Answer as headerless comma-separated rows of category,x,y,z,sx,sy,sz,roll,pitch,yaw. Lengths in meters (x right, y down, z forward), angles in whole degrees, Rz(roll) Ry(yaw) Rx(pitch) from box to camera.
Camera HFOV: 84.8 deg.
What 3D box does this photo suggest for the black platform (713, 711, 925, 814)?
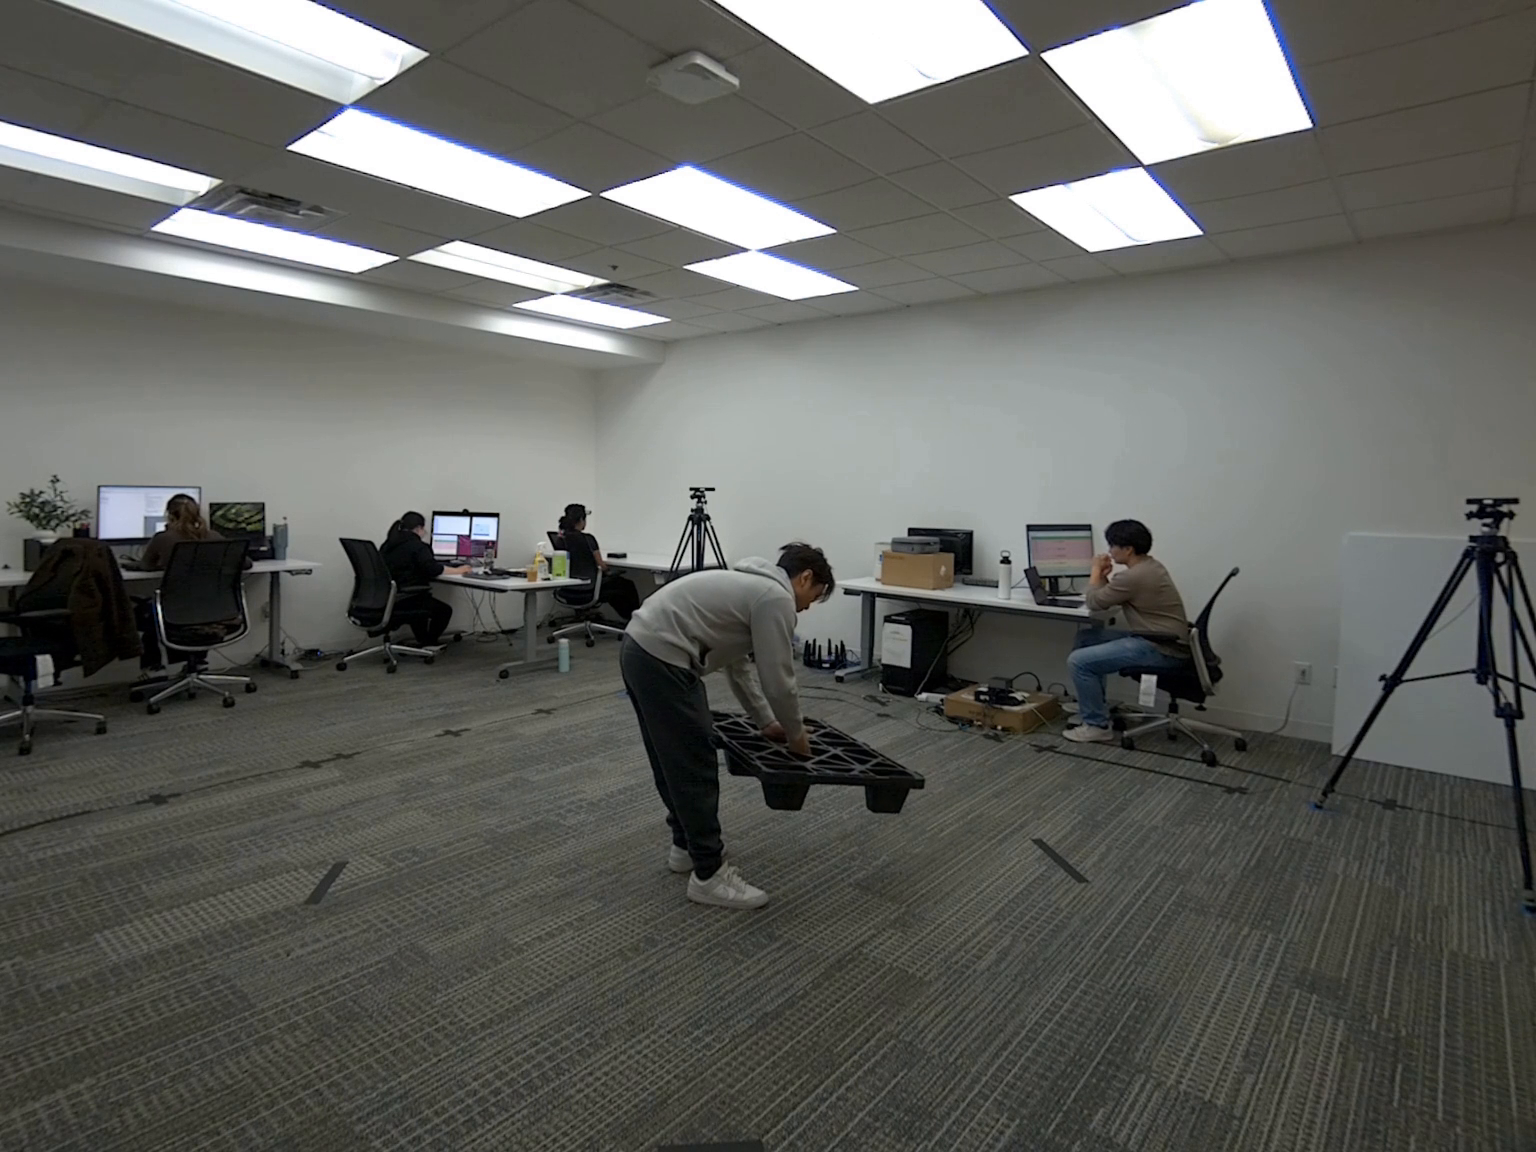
black platform,0.085,0.665,3.085,0.591,0.143,0.825,8,2,-22
